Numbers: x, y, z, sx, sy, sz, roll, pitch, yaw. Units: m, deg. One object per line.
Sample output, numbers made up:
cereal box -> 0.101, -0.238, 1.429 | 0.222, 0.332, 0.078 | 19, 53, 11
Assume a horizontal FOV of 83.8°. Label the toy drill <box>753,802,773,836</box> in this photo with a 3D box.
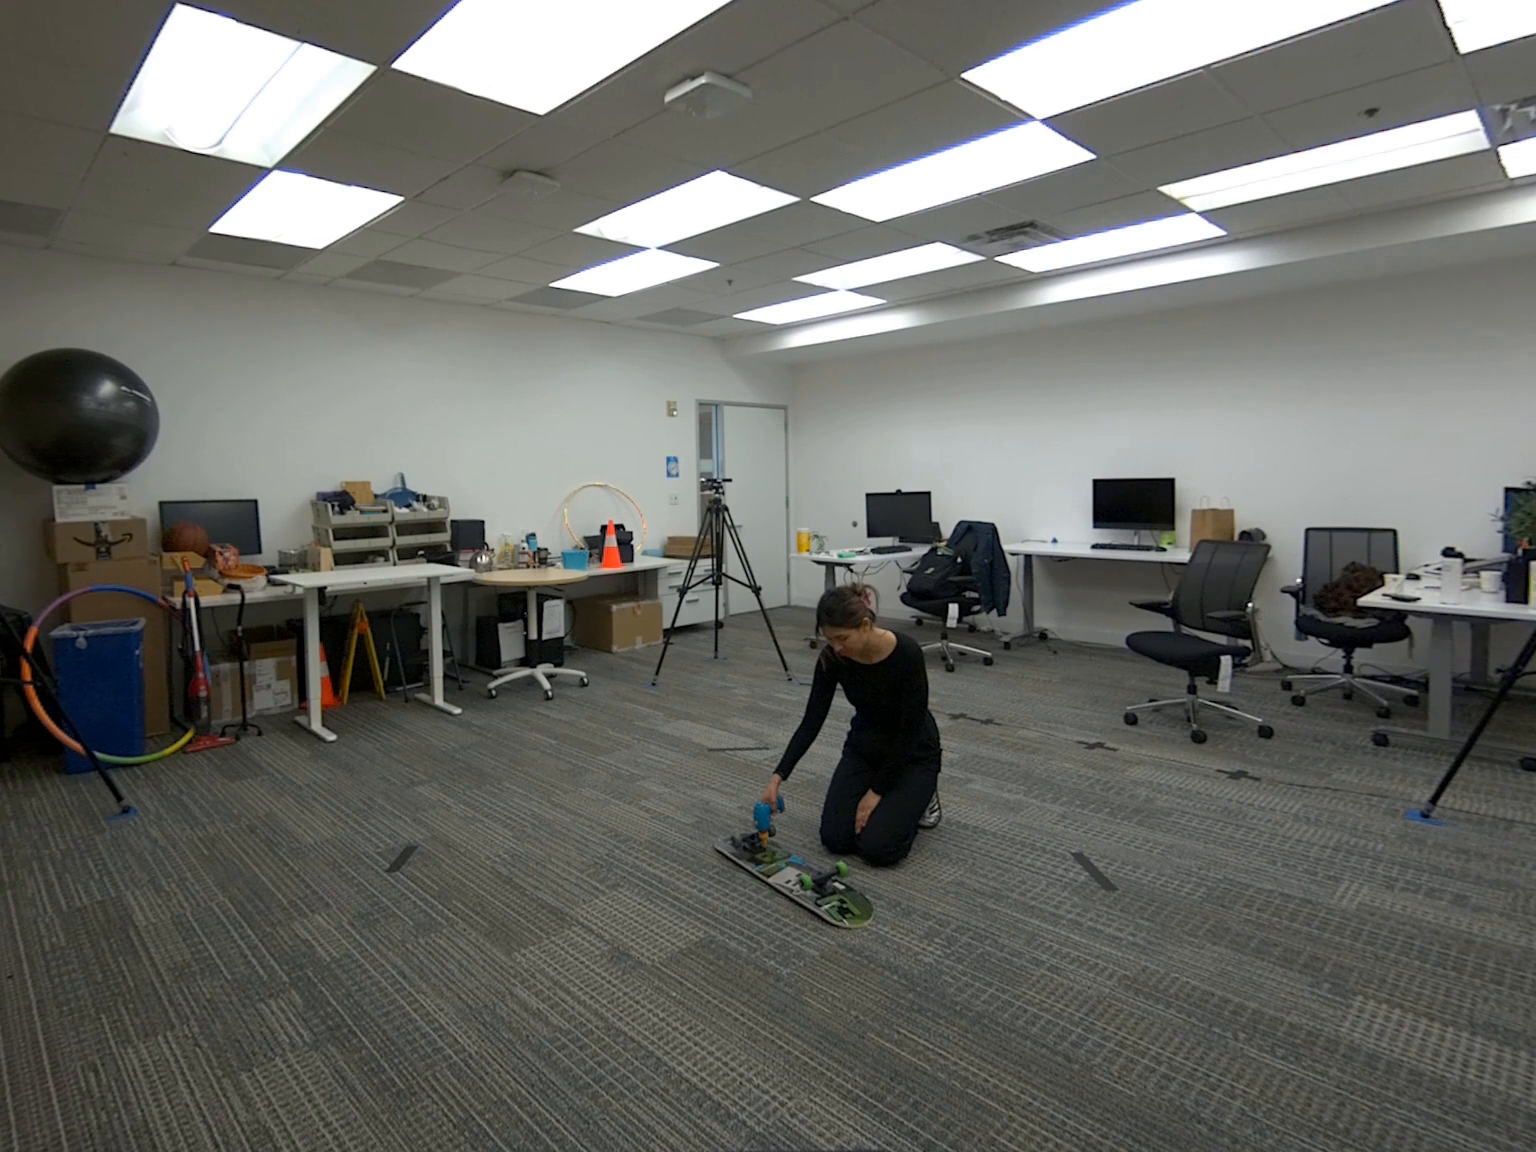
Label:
toy drill -> 0.013, 0.906, 3.155 | 0.063, 0.169, 0.143 | -3, 7, 44
